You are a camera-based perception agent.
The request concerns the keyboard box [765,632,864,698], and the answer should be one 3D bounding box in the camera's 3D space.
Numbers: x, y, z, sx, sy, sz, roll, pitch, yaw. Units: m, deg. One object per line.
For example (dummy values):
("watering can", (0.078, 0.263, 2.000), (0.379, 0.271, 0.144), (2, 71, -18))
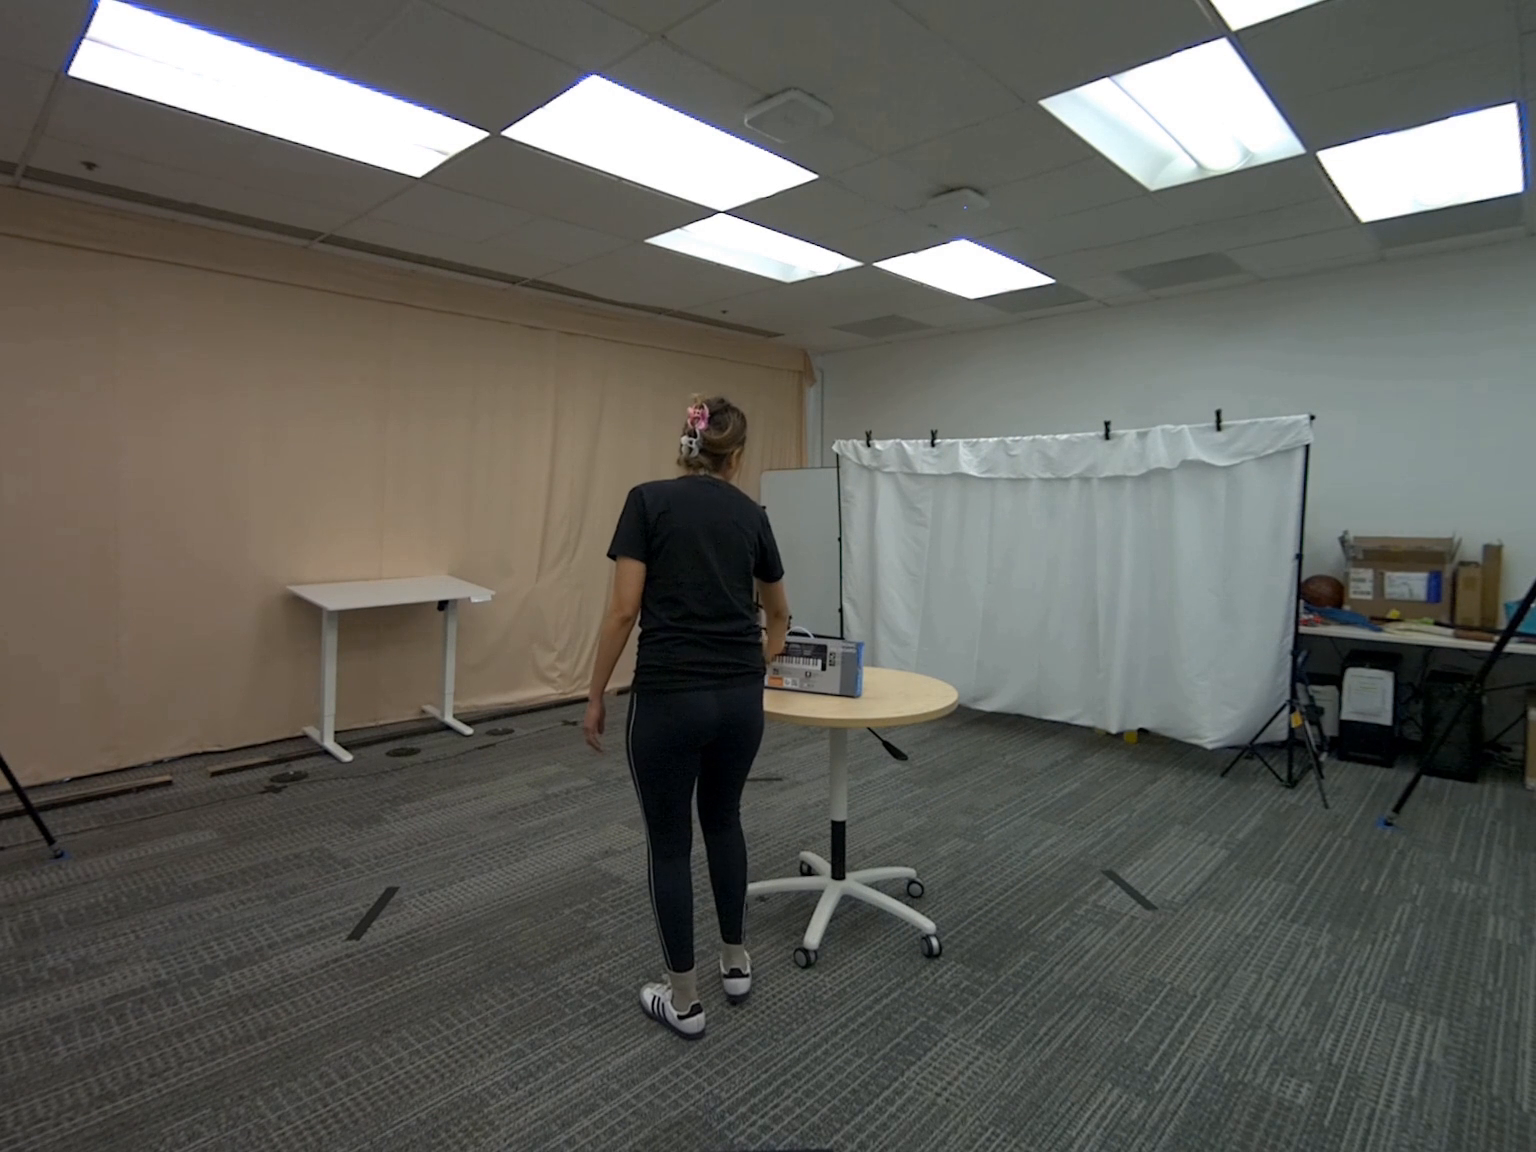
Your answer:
("keyboard box", (0.106, 0.291, 2.779), (0.449, 0.176, 0.057), (3, -4, 28))
